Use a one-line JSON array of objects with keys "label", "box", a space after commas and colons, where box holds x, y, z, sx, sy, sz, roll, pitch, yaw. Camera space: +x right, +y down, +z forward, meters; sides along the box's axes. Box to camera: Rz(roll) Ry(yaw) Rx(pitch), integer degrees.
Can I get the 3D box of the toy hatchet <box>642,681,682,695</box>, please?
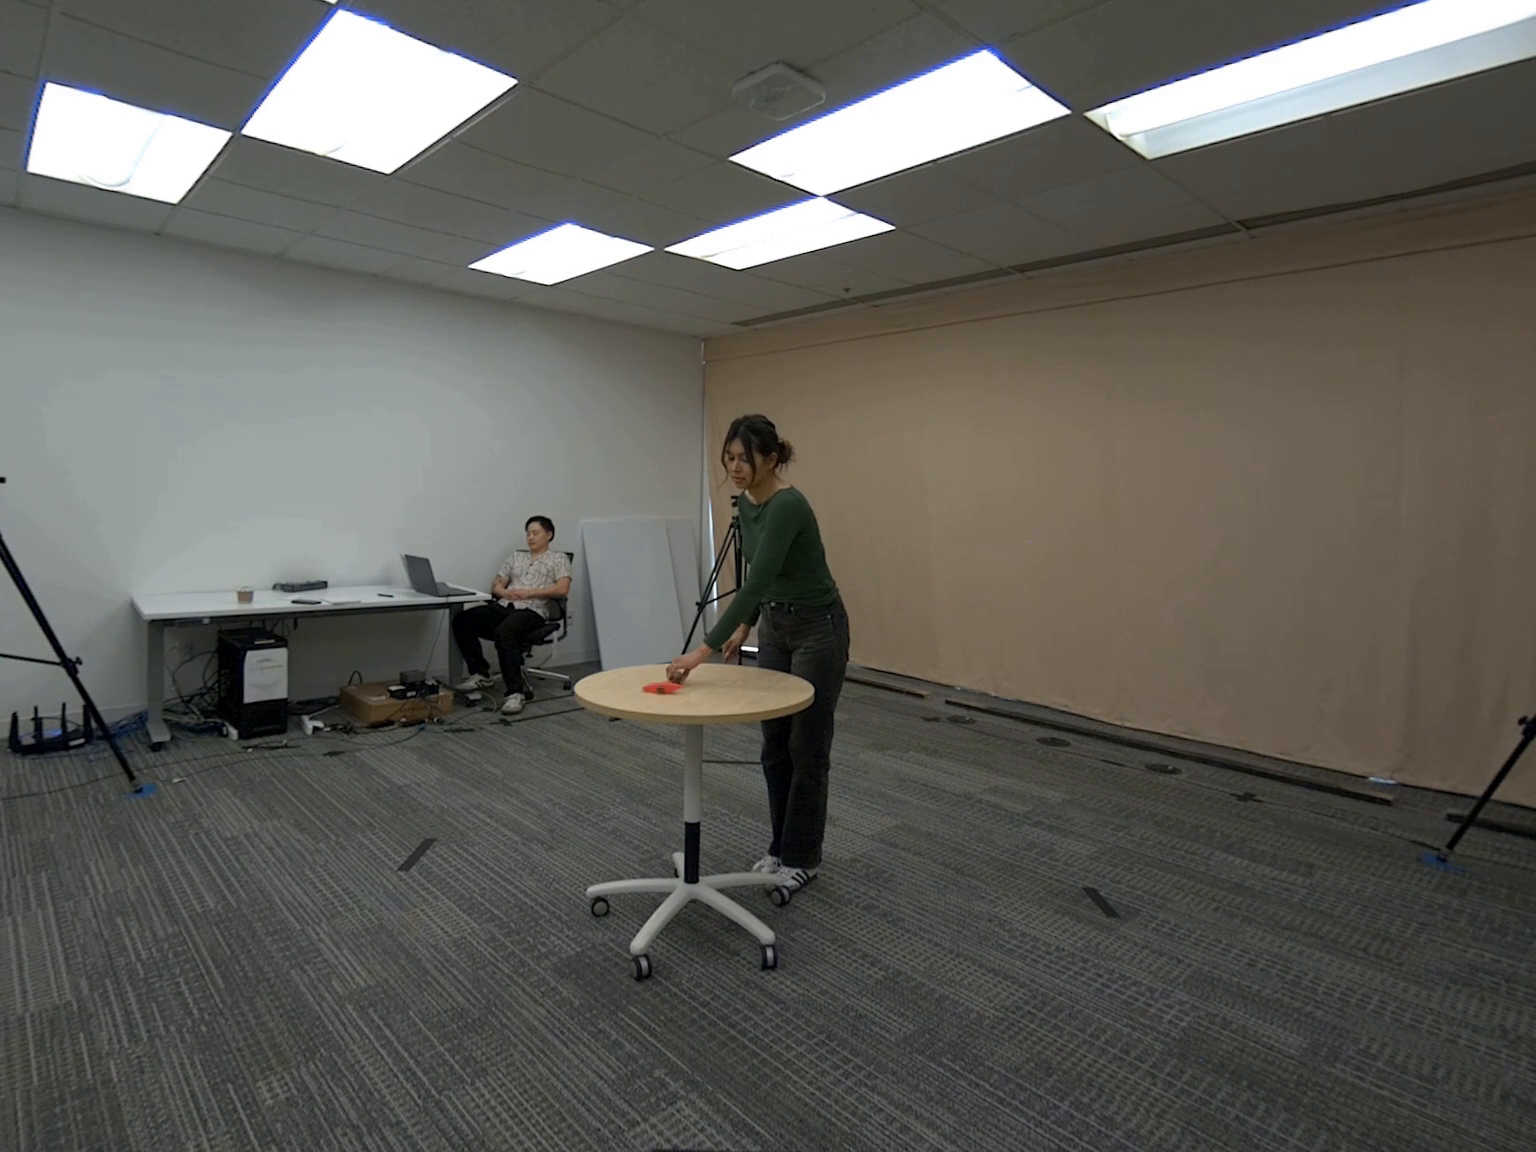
[{"label": "toy hatchet", "box": [-0.340, 0.343, 2.703, 0.130, 0.029, 0.271, -5, 3, -7]}]
